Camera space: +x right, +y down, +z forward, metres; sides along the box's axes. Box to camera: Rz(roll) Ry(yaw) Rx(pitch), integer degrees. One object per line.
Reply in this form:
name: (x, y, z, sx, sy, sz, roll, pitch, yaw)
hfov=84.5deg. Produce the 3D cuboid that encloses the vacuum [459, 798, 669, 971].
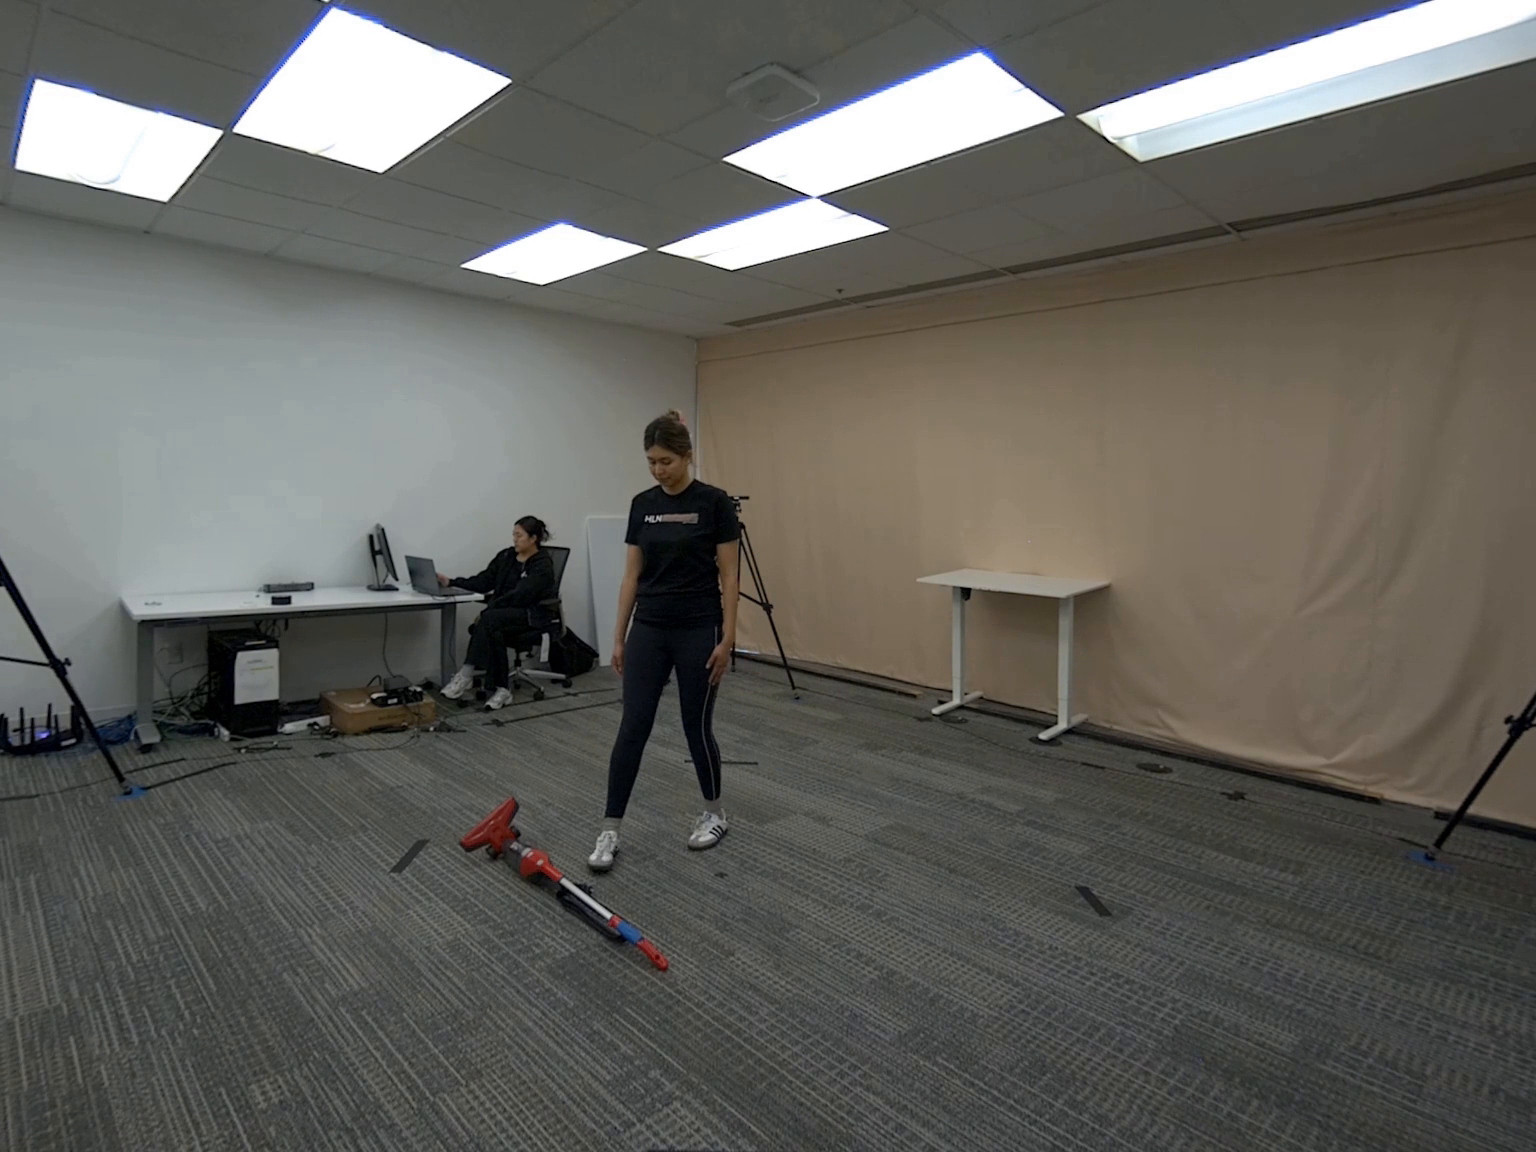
vacuum: (-0.688, 1.071, 2.842, 1.079, 0.140, 0.251, 14, 43, 45)
